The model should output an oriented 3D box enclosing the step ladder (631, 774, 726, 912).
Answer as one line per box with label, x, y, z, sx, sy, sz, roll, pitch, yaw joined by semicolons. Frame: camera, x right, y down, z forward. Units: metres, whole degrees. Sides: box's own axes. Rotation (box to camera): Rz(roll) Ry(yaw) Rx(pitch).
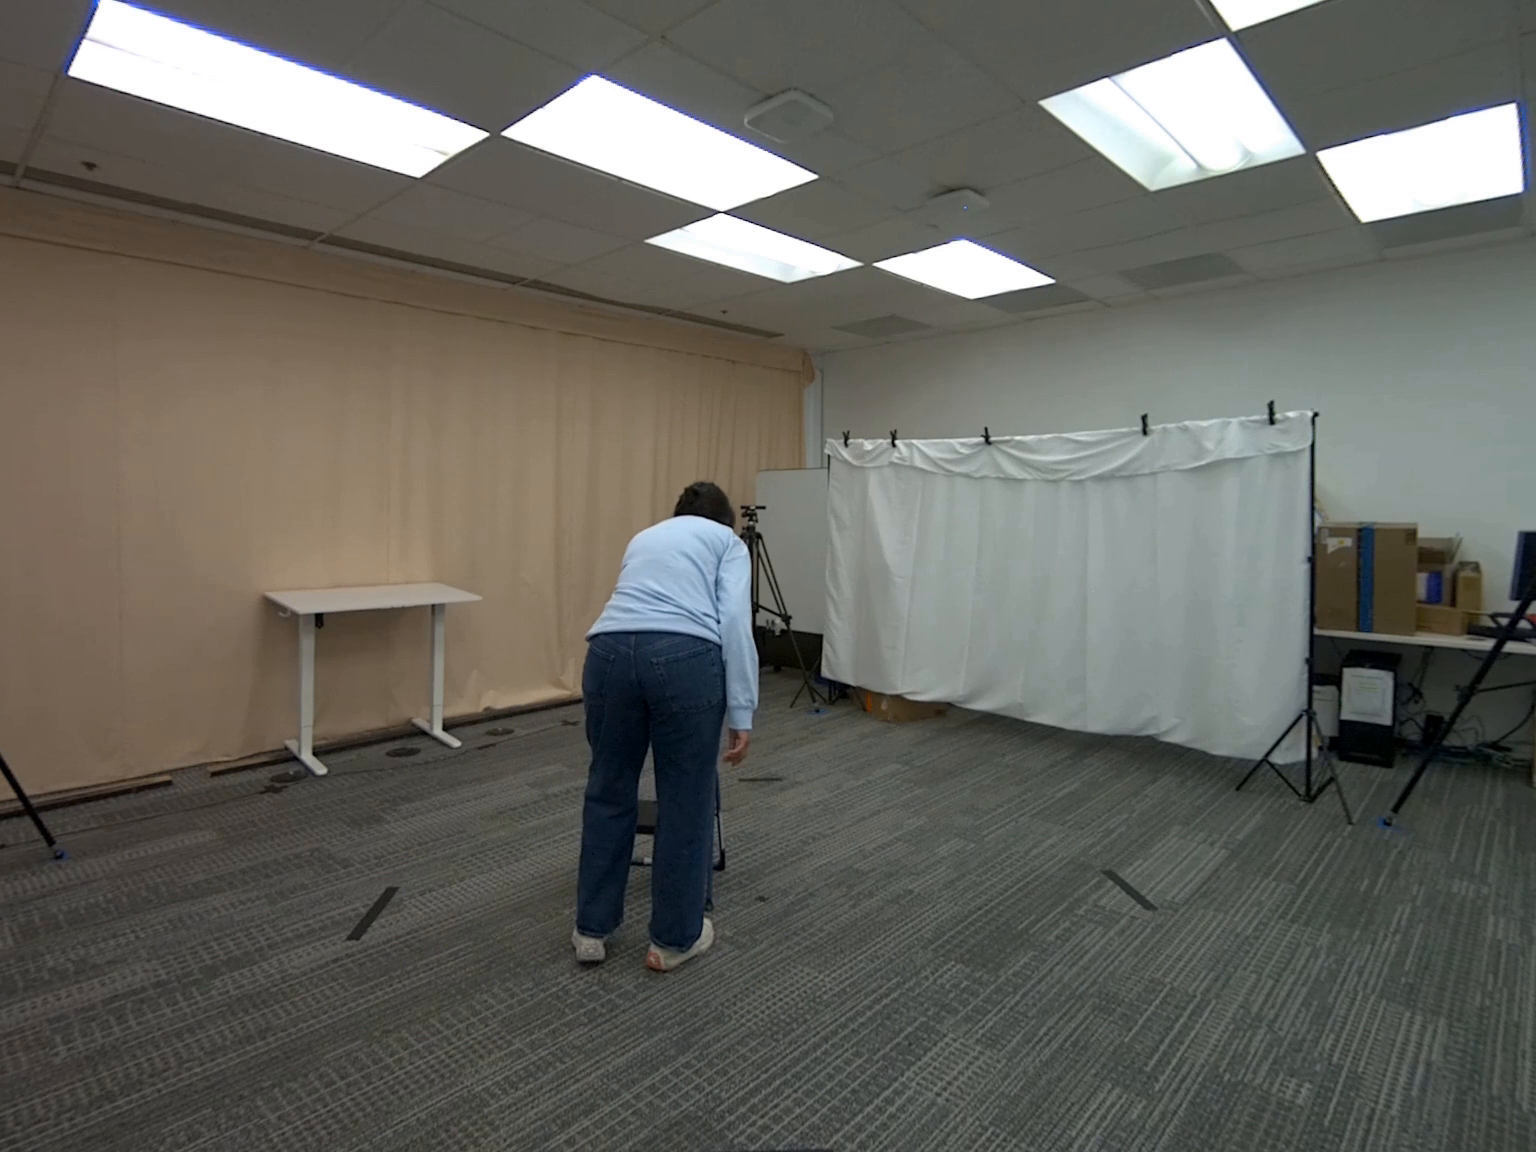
step ladder;-0.388;0.837;3.086;0.435;0.605;0.347;0;4;8
